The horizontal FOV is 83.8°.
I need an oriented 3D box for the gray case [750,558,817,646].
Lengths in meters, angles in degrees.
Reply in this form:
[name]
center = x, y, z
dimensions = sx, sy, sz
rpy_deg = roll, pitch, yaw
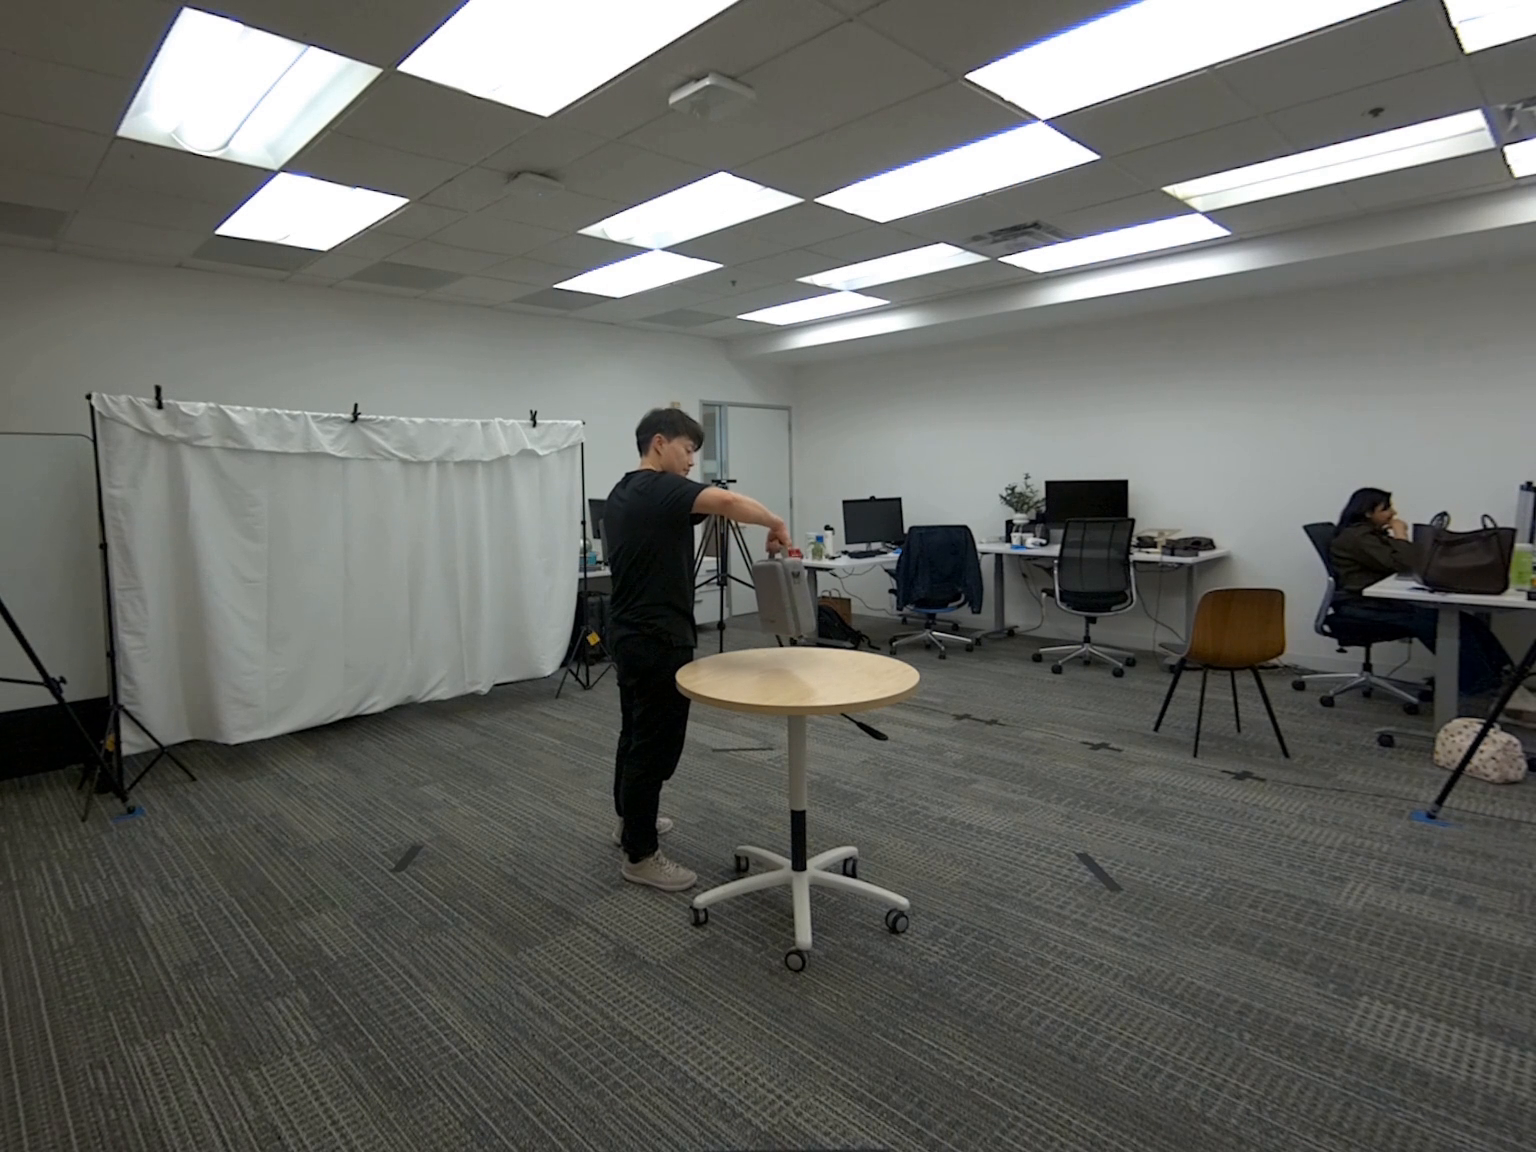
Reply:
[gray case]
center = 0.042, 0.066, 2.862
dimensions = 0.103, 0.260, 0.262
rpy_deg = -10, 4, -20
